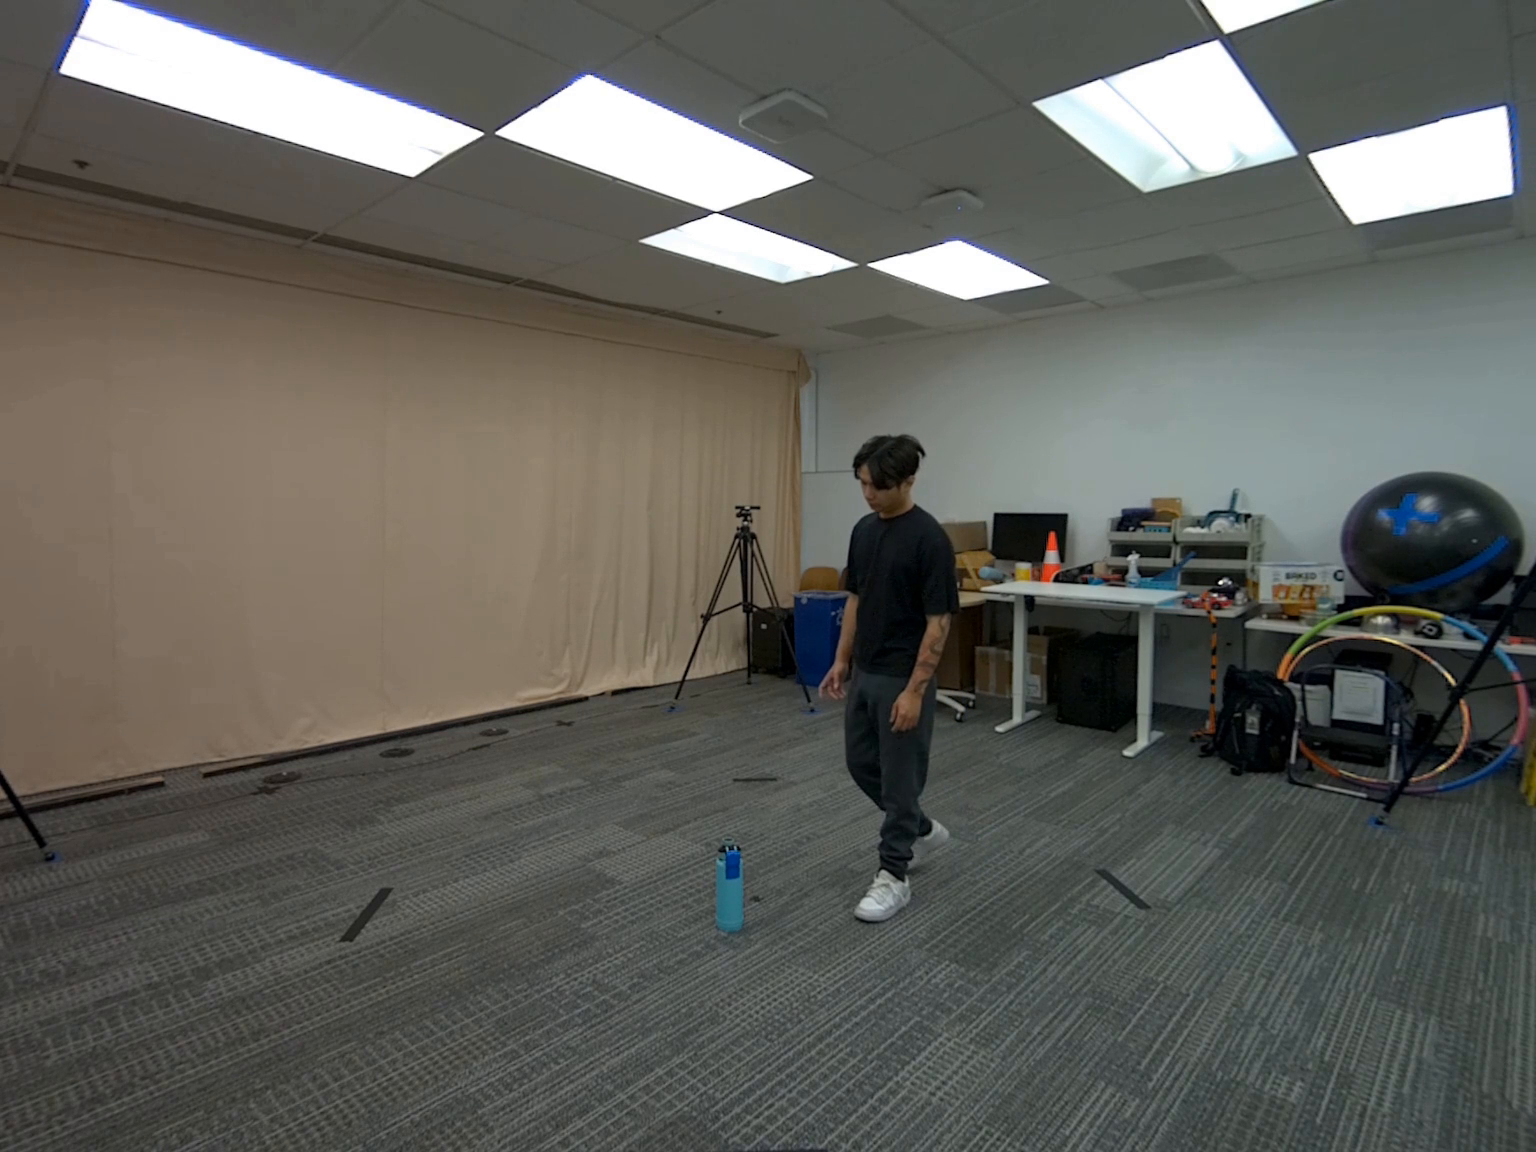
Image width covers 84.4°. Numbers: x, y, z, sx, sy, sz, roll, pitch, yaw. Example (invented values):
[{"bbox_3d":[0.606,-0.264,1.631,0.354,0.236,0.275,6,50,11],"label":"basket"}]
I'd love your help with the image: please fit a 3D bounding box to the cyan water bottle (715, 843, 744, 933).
[{"bbox_3d":[-0.123,1.020,2.781,0.092,0.283,0.092,1,3,-2],"label":"cyan water bottle"}]
